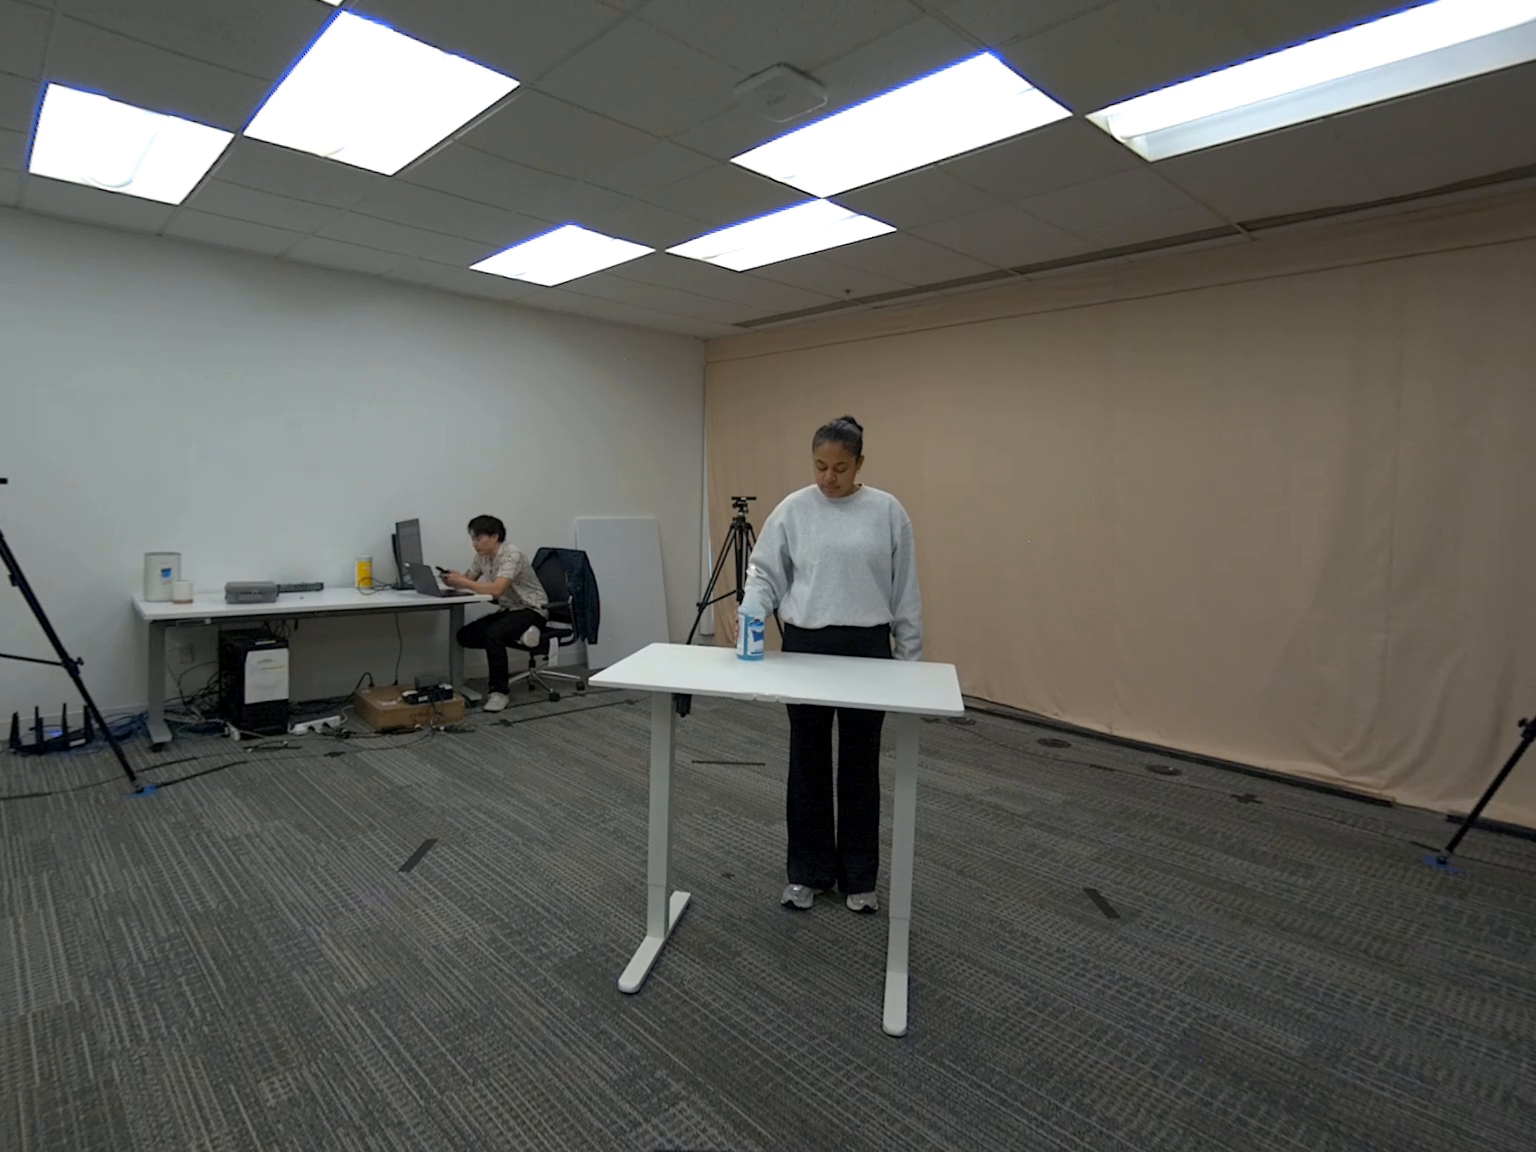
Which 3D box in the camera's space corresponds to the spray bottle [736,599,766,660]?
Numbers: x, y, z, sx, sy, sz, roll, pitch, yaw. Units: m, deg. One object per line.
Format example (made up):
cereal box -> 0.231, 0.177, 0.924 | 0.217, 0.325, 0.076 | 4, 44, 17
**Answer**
spray bottle -> -0.049, 0.113, 2.667 | 0.088, 0.297, 0.089 | 1, 2, 18
